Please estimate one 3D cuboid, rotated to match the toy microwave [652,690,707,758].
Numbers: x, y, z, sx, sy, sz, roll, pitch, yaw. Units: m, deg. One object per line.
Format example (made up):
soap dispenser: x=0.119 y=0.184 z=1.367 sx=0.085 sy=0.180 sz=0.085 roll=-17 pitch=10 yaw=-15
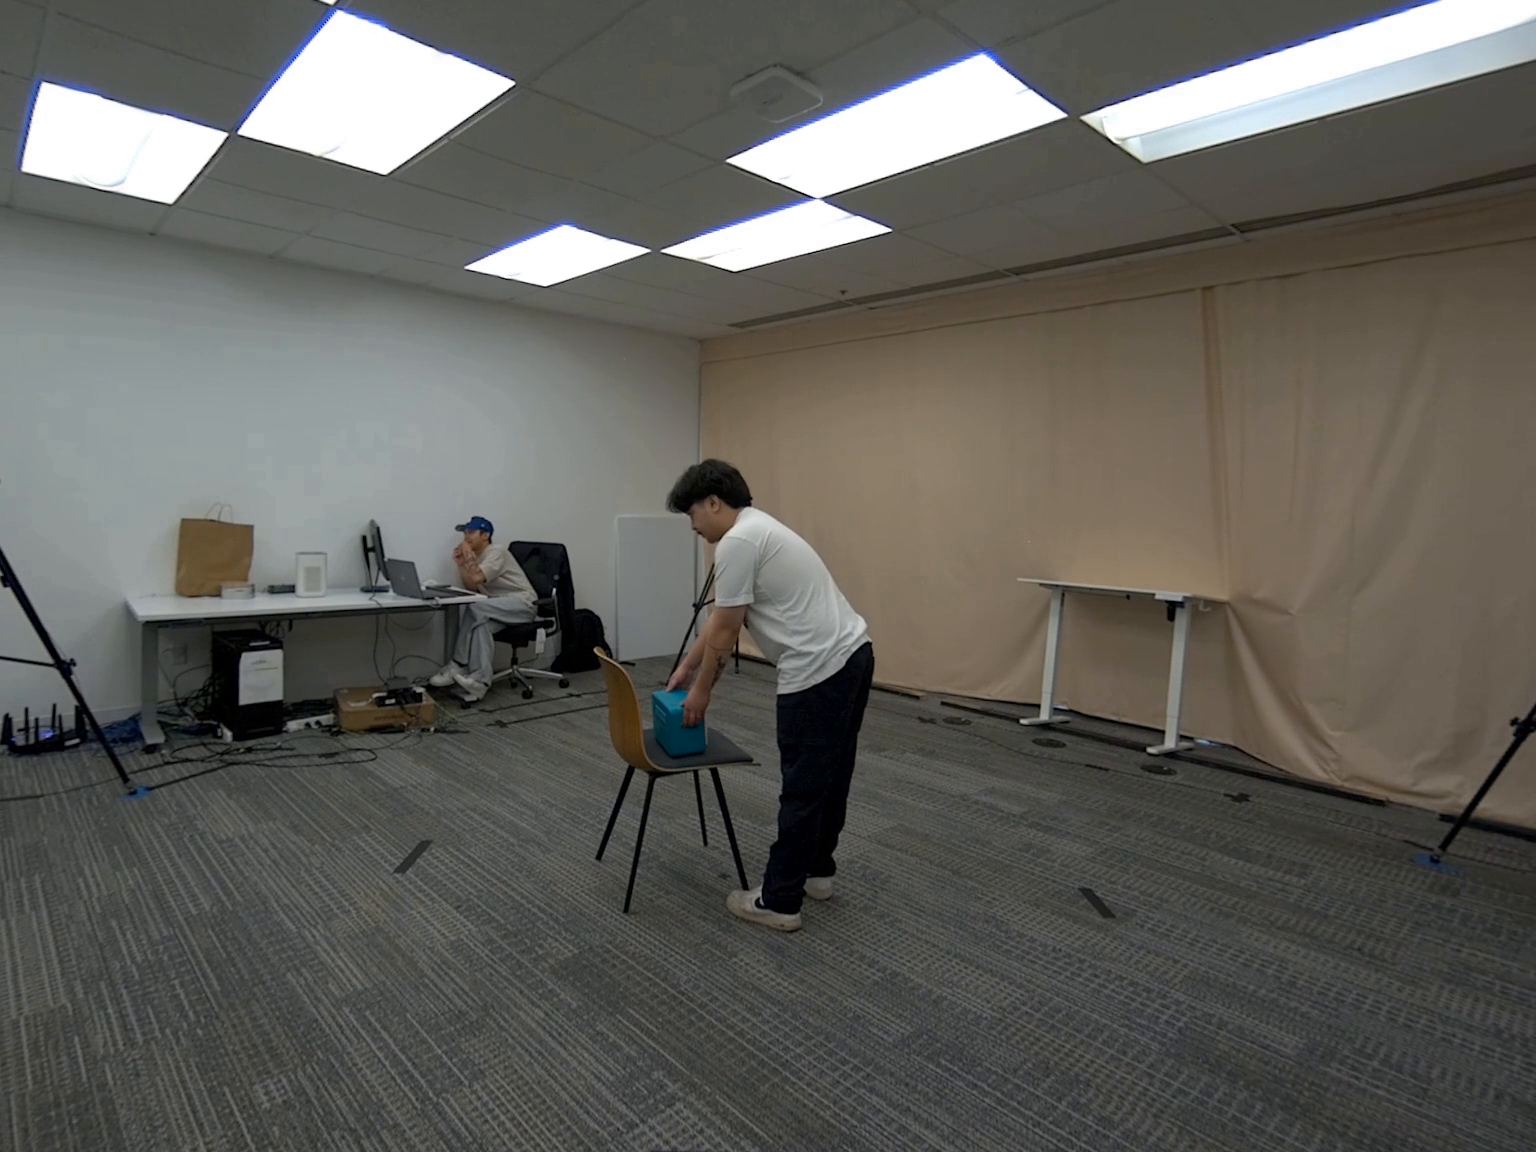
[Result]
toy microwave: x=-0.332 y=0.535 z=3.073 sx=0.151 sy=0.183 sz=0.290 roll=-4 pitch=7 yaw=-15
